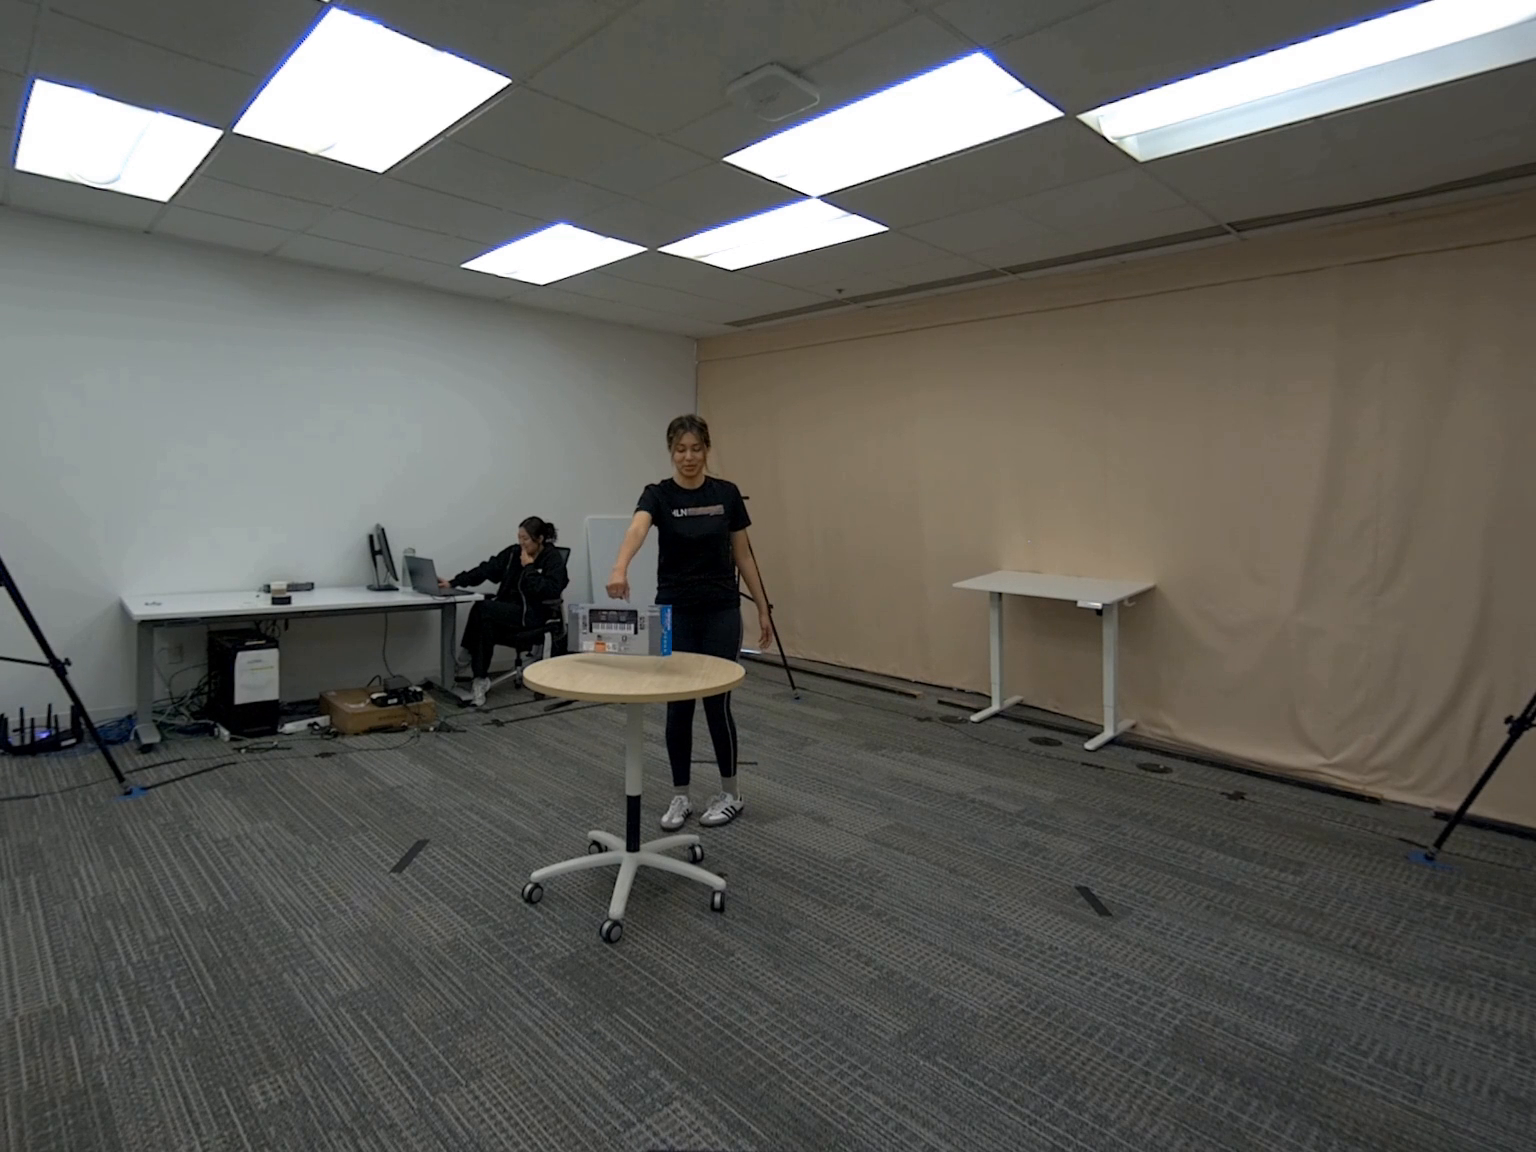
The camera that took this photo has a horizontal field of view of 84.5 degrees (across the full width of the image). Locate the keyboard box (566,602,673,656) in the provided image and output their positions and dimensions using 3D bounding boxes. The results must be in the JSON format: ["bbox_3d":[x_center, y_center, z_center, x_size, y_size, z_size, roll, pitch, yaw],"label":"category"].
[{"bbox_3d":[-0.533,0.187,2.991,0.446,0.176,0.058,-1,-2,30],"label":"keyboard box"}]
